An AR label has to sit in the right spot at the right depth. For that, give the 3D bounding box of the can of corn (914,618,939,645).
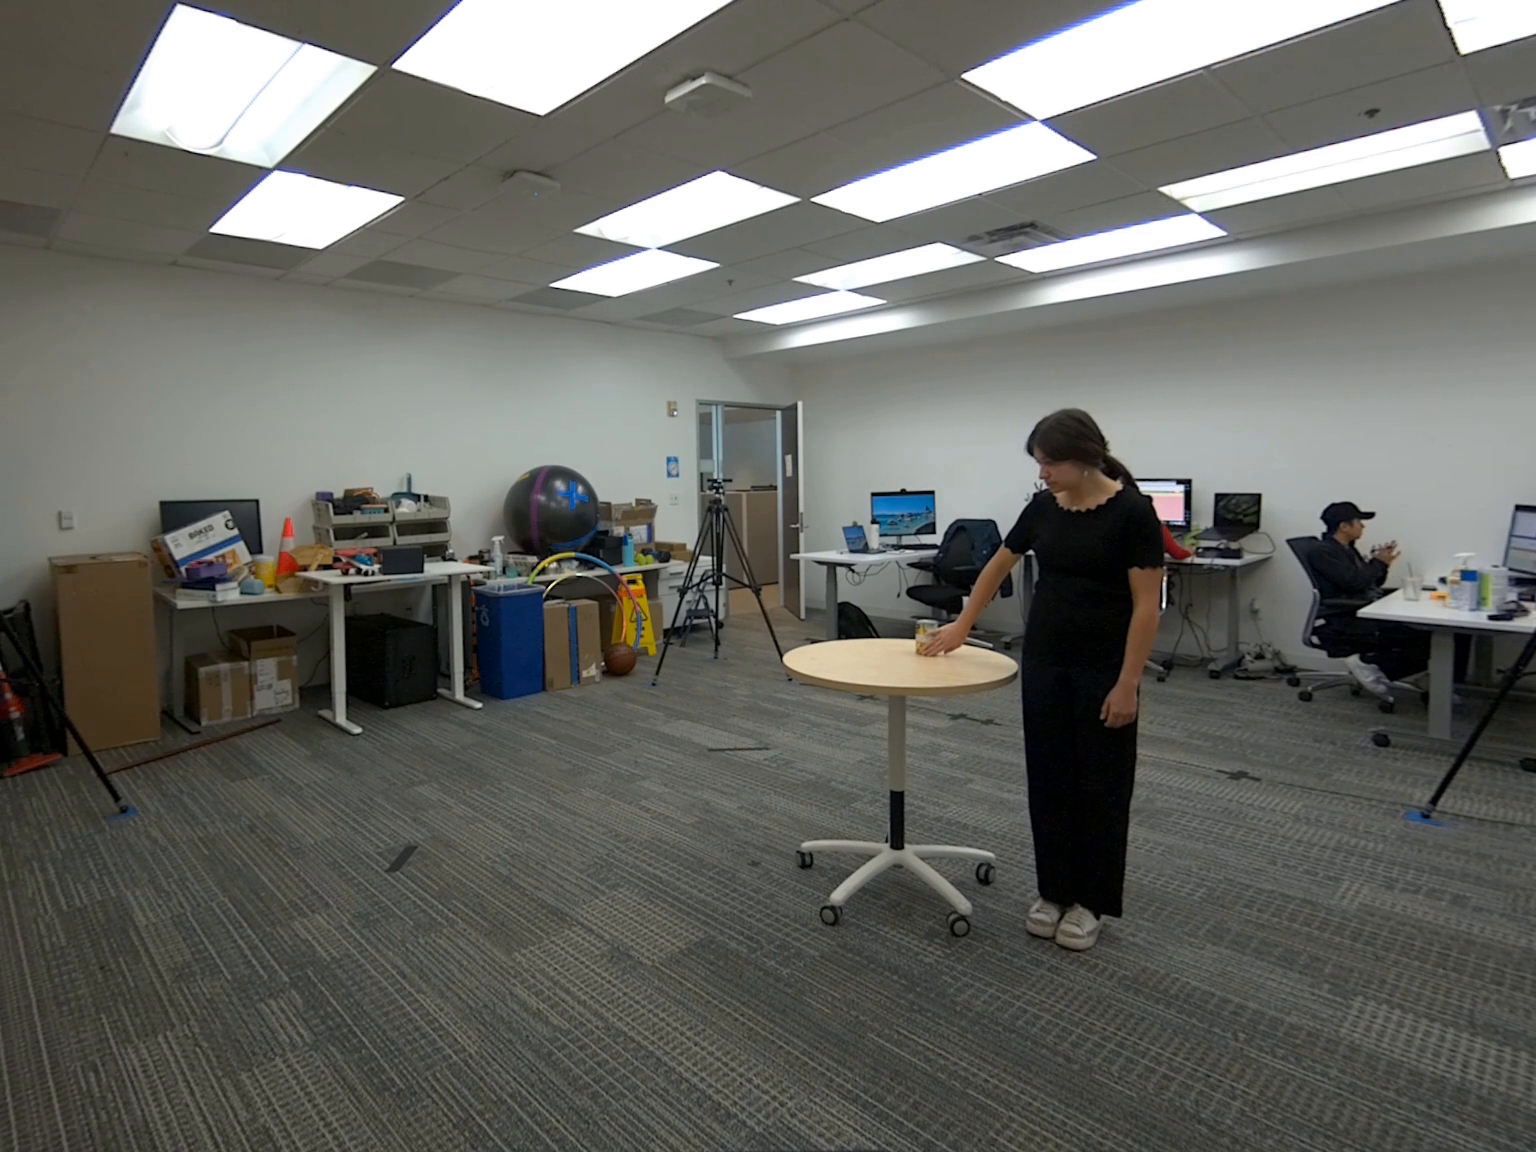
[{"bbox_3d":[0.567,0.219,2.947,0.074,0.110,0.075,4,7,-2],"label":"can of corn"}]
